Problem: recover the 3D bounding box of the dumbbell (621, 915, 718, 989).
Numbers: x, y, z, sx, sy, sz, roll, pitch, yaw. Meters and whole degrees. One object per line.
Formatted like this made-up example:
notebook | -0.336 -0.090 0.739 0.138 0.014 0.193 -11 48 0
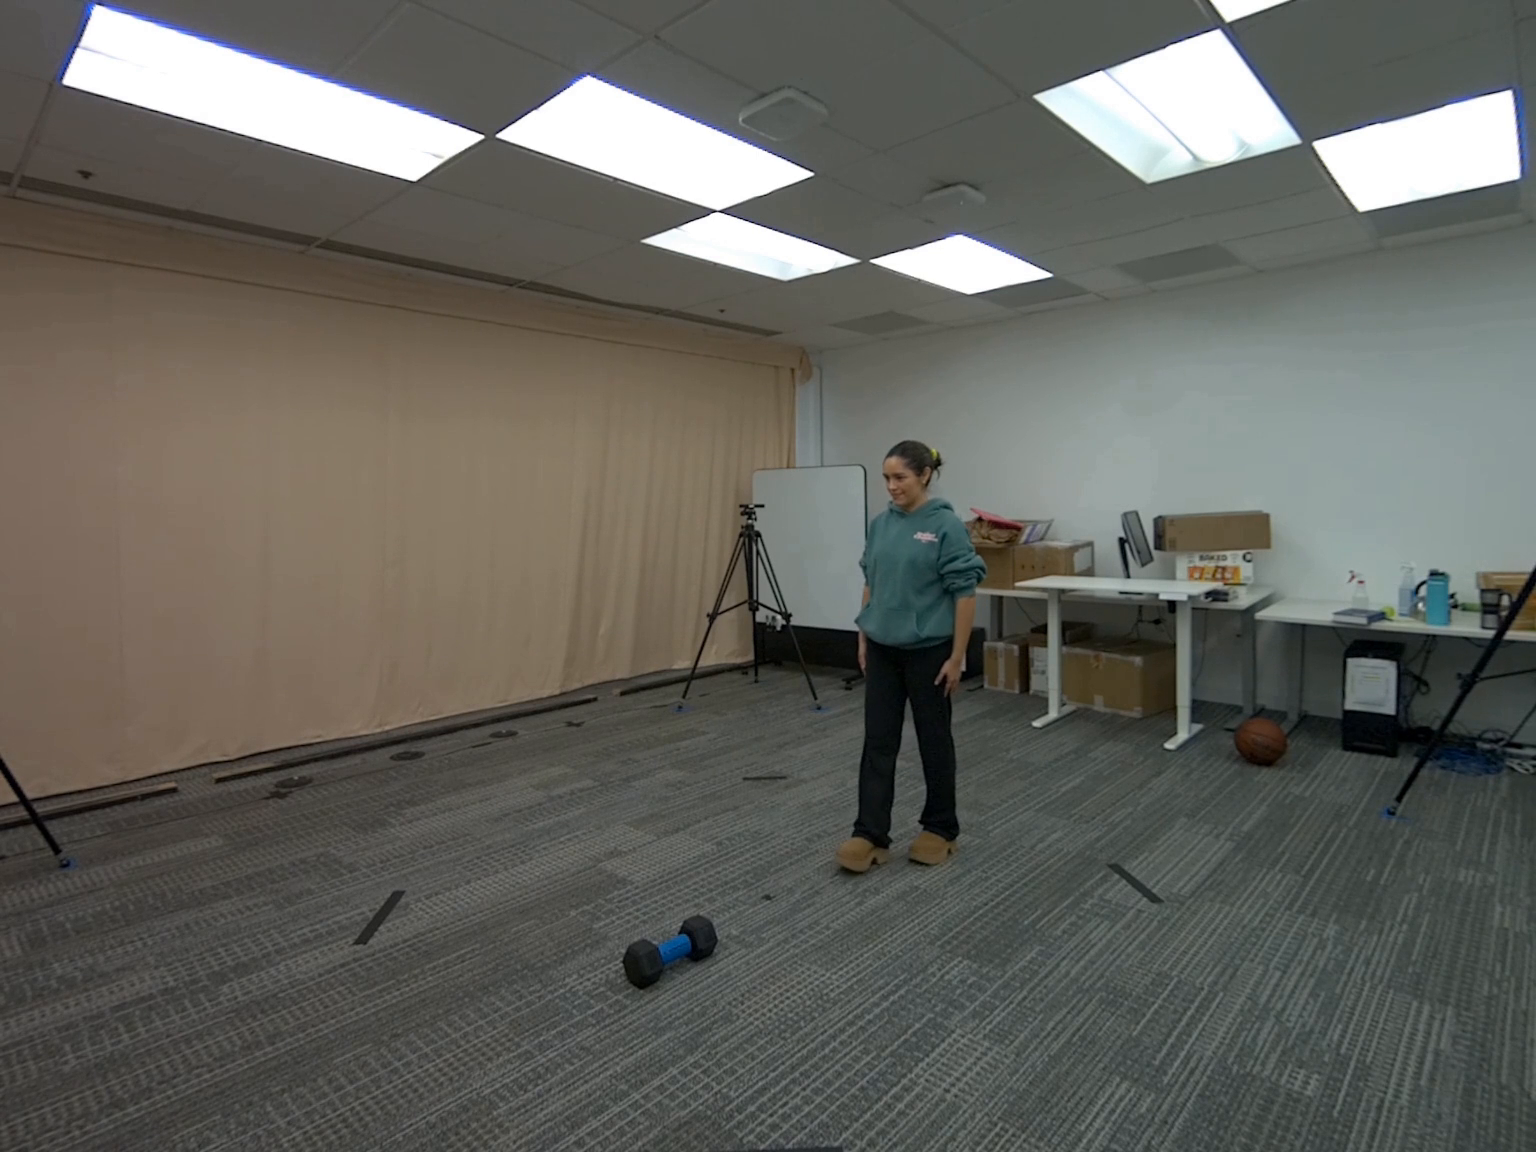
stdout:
dumbbell | -0.291 1.131 2.533 0.285 0.122 0.112 -5 35 -43
